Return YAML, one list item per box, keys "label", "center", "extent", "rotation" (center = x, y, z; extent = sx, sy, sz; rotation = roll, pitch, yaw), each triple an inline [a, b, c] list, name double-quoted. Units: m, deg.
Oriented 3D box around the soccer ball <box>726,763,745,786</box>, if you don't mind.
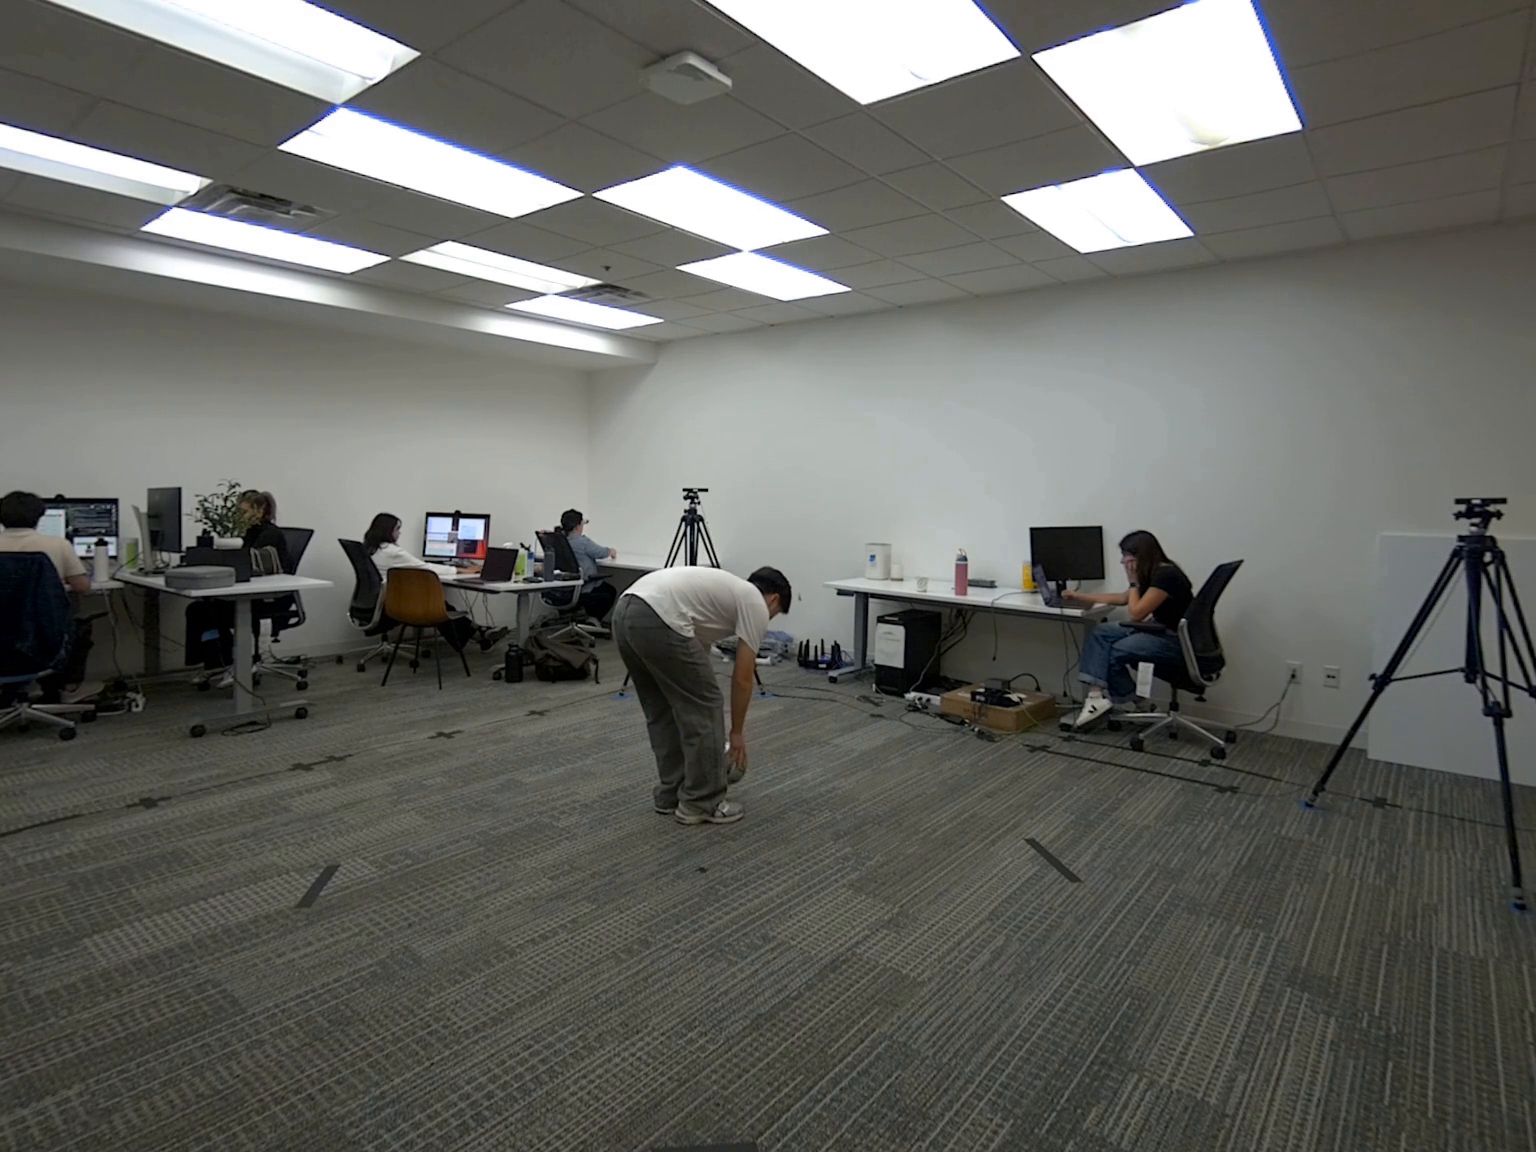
- label: "soccer ball"
  center: [-0.181, 0.799, 3.787]
  extent: [0.187, 0.187, 0.188]
  rotation: [1, 4, -2]
